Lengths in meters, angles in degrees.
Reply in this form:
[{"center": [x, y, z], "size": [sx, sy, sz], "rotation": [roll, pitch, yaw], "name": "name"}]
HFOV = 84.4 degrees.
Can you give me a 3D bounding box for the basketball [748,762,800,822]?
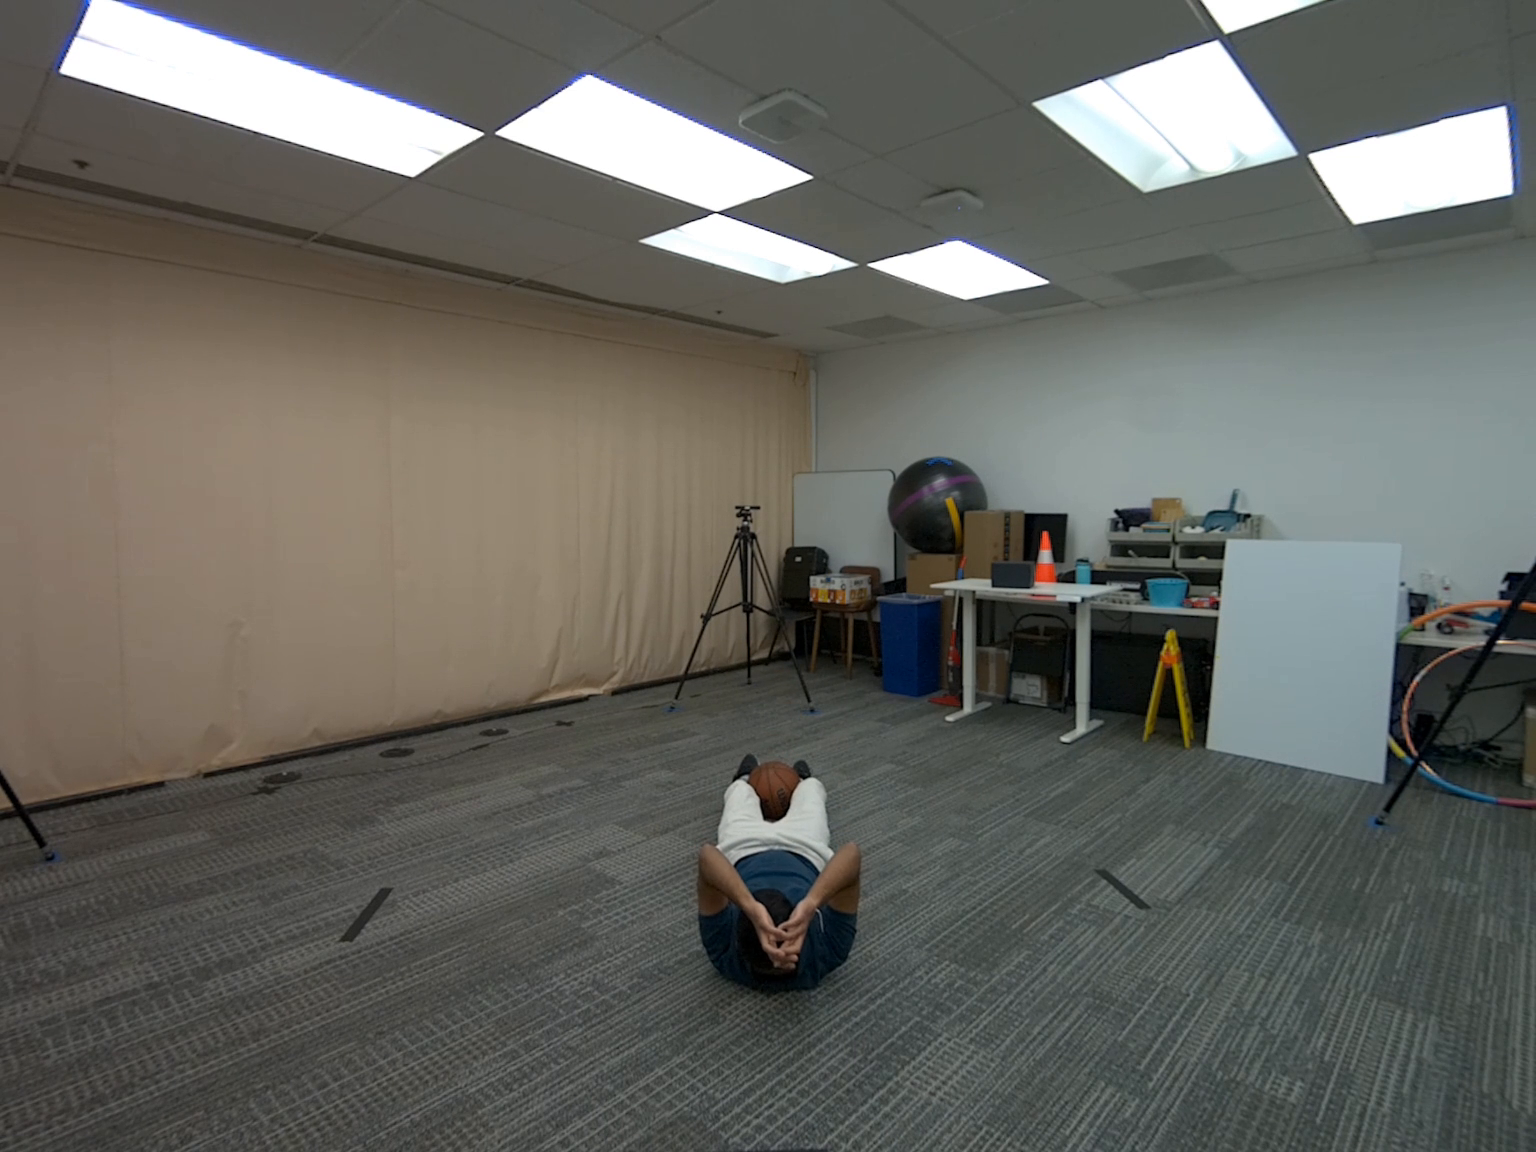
[{"center": [0.023, 0.901, 3.559], "size": [0.236, 0.235, 0.237], "rotation": [0, 4, -2], "name": "basketball"}]
